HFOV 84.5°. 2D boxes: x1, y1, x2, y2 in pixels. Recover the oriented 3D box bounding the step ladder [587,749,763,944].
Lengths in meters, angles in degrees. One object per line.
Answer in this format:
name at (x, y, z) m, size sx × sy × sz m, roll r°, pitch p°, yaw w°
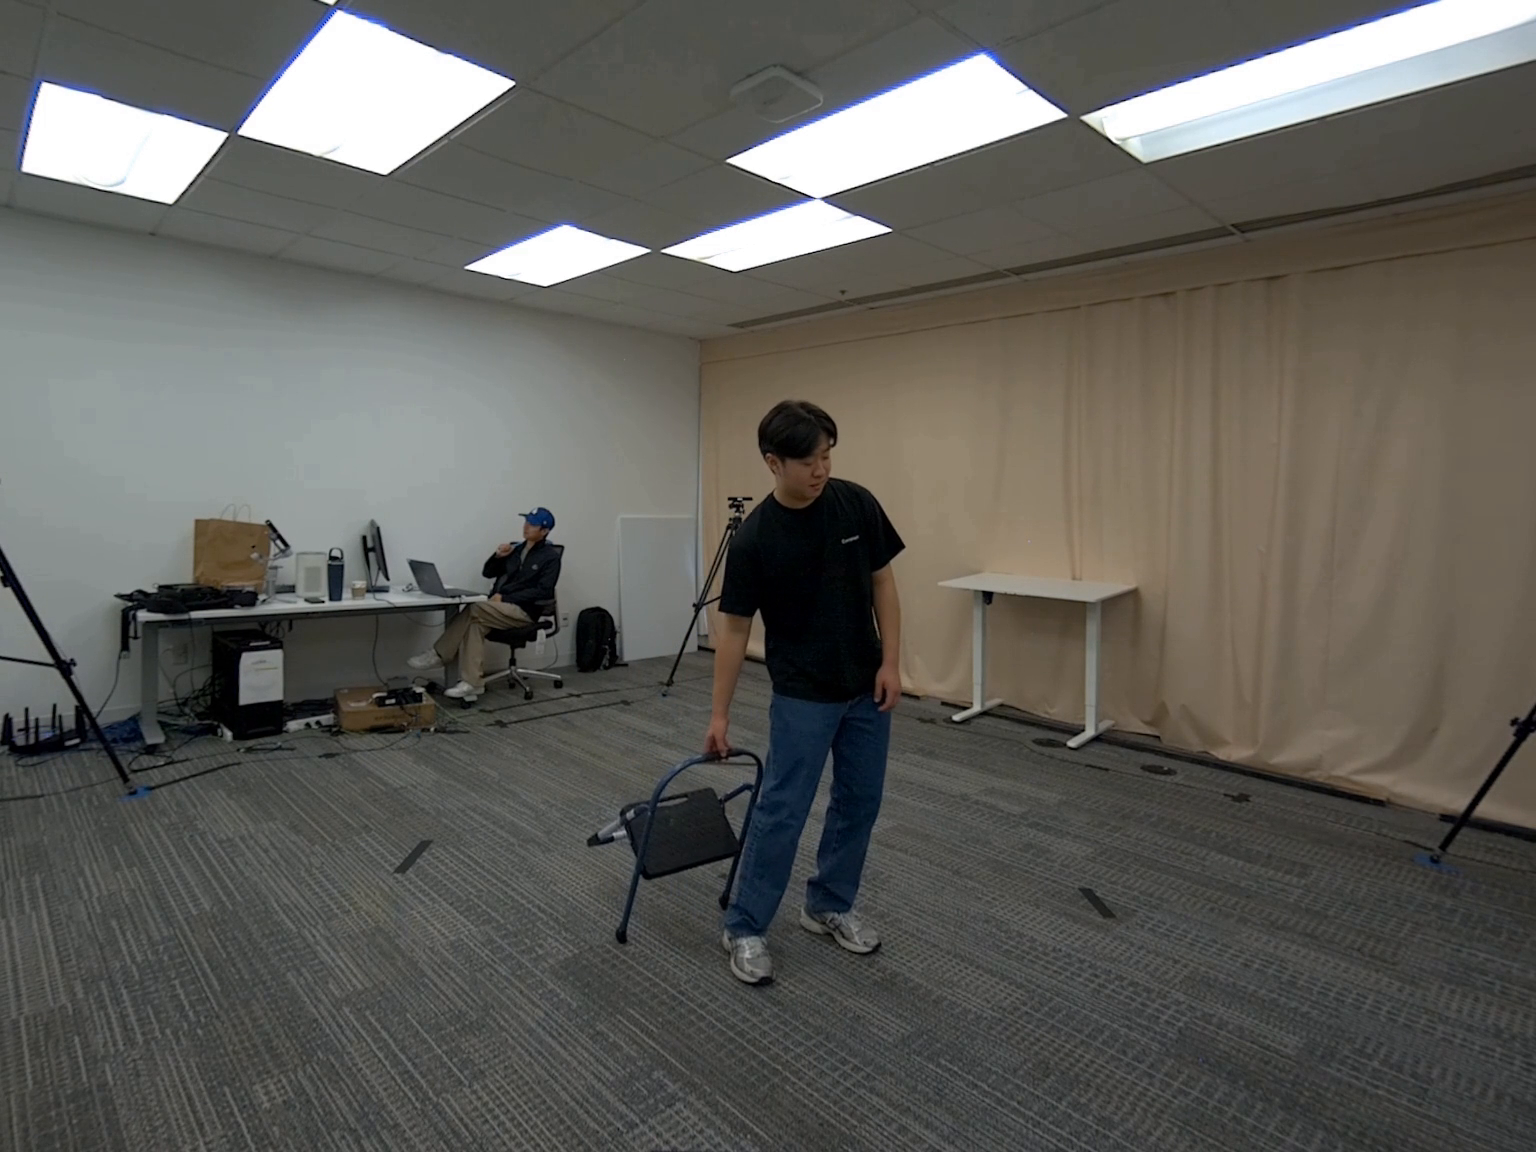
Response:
step ladder at (-0.248, 0.798, 2.665) m, size 0.421 × 0.602 × 0.359 m, roll -1°, pitch 47°, yaw -38°
